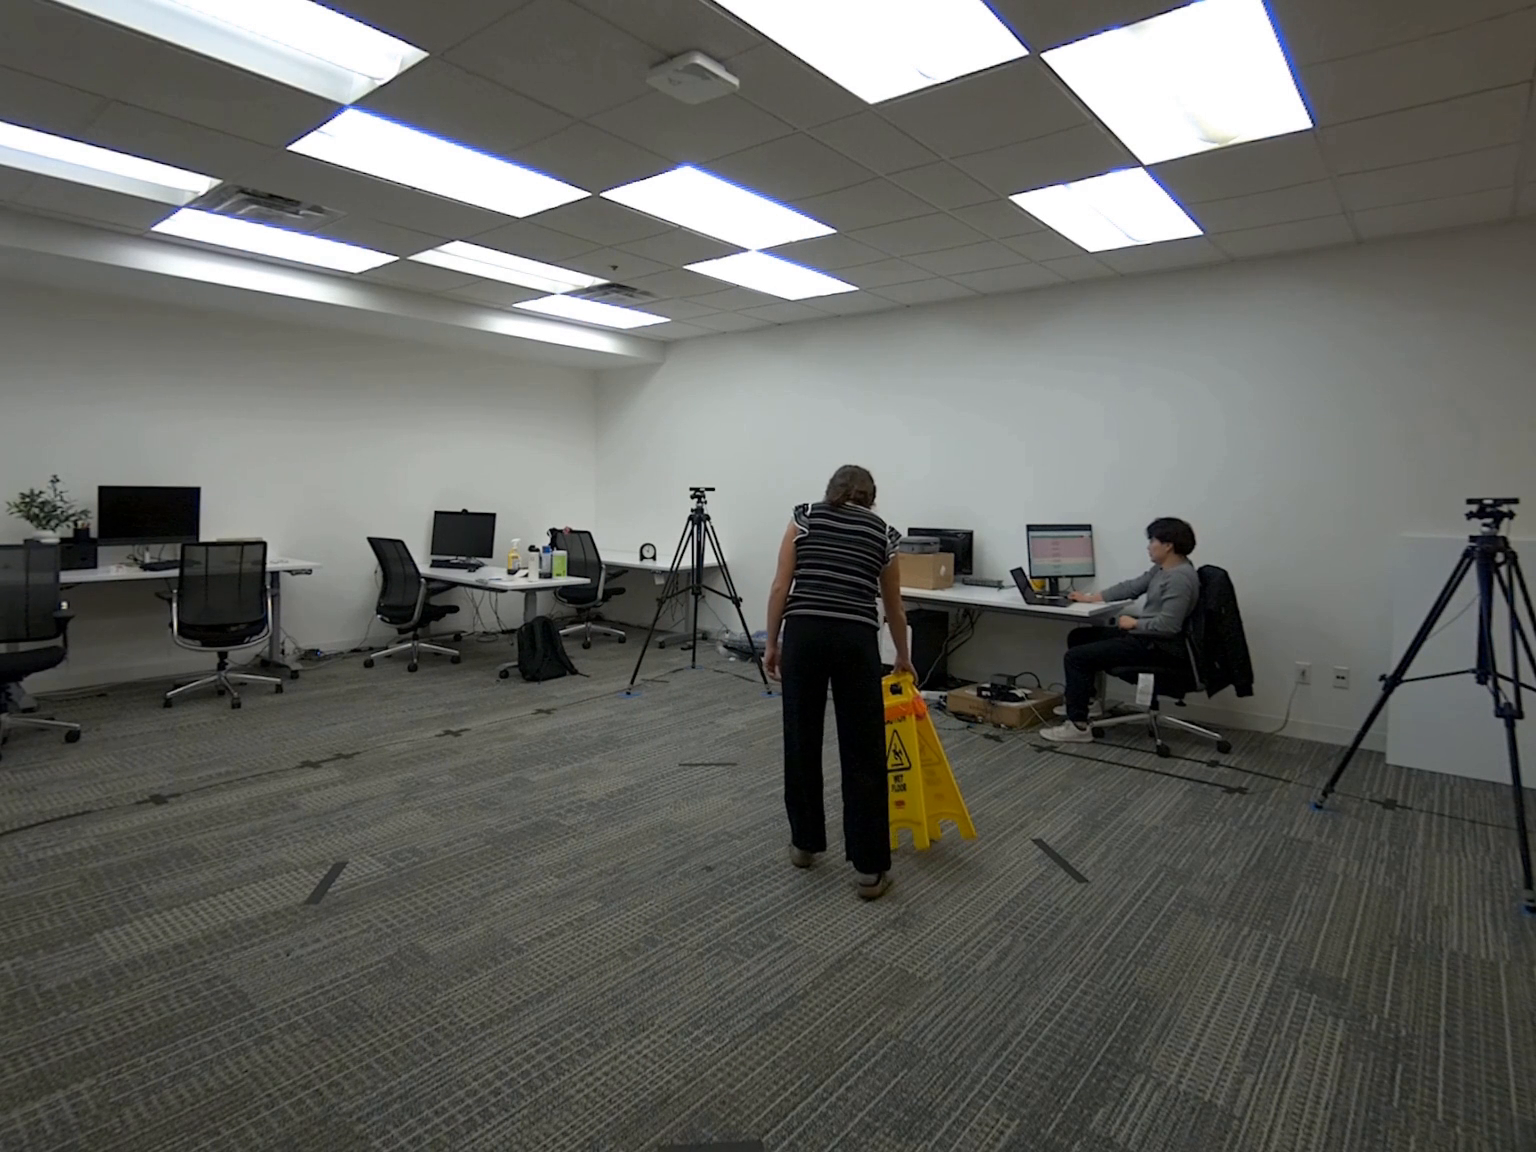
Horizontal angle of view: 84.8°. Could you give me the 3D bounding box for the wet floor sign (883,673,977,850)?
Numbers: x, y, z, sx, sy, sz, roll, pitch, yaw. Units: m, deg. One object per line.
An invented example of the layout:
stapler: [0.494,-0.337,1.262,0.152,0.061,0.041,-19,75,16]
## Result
wet floor sign: [0.558,0.707,3.352,0.282,0.657,0.285,-3,-16,-28]
